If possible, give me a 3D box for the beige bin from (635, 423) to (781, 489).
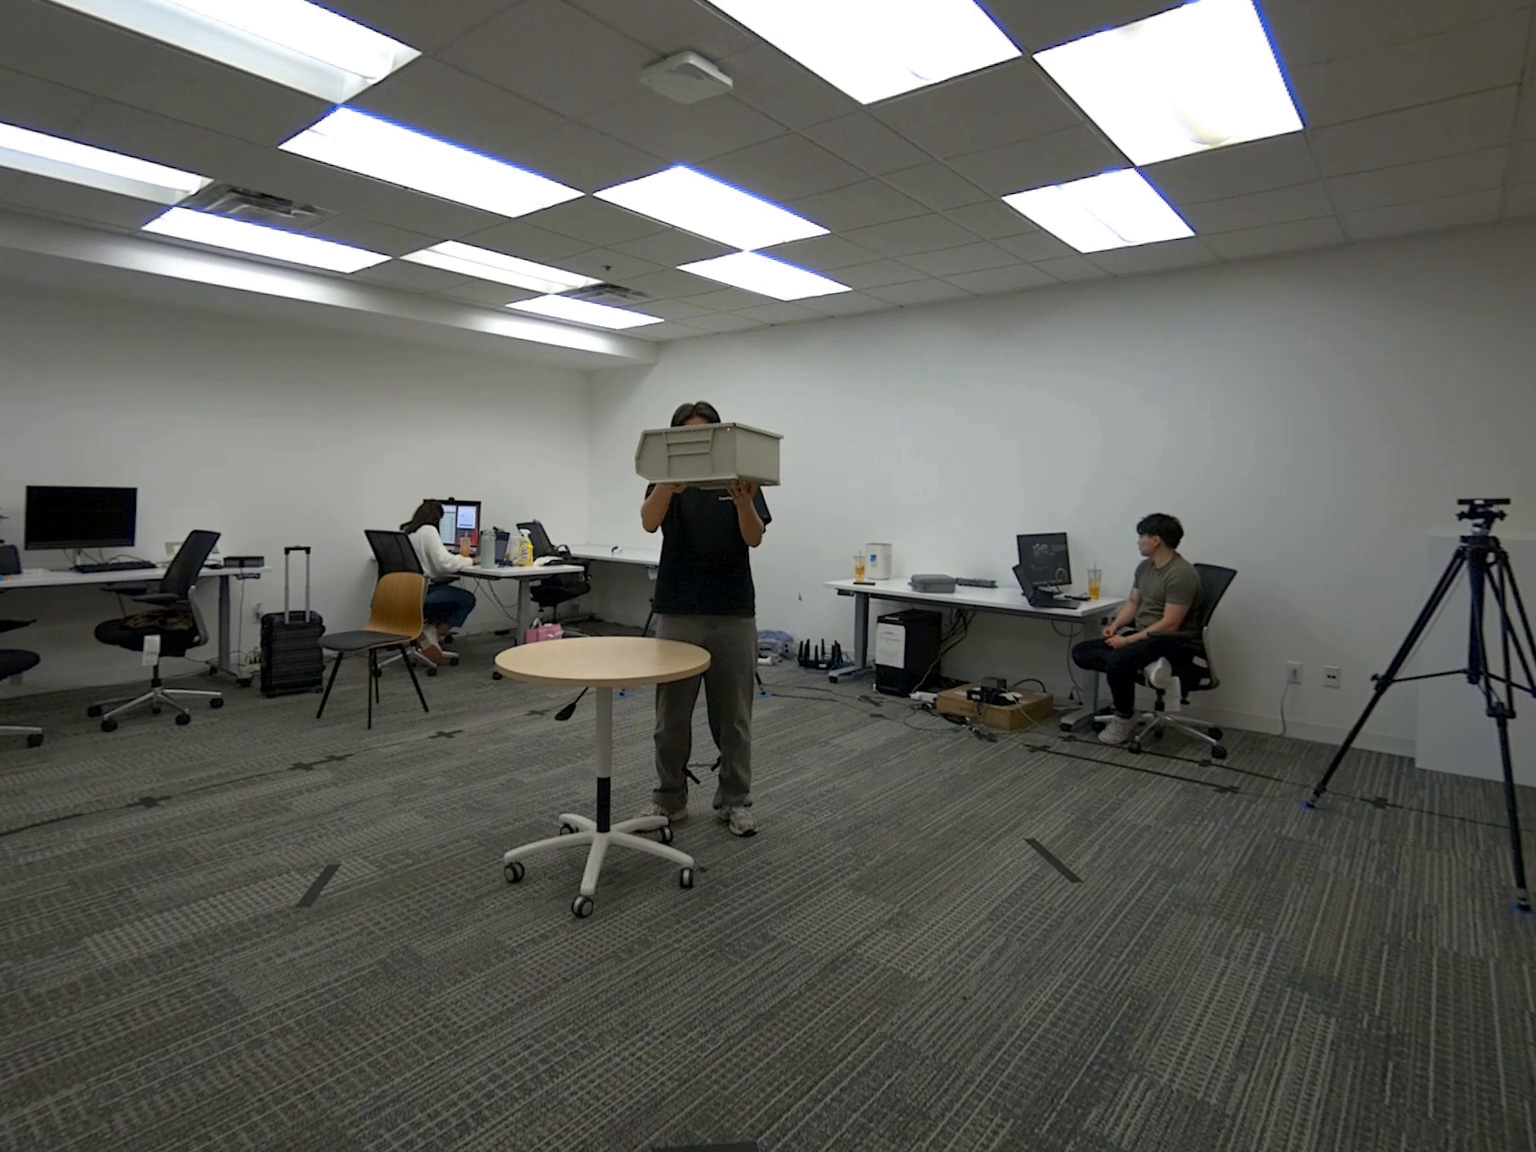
[{"bbox_3d":[-0.214,-0.410,2.955,0.386,0.189,0.413,0,2,23],"label":"beige bin"}]
